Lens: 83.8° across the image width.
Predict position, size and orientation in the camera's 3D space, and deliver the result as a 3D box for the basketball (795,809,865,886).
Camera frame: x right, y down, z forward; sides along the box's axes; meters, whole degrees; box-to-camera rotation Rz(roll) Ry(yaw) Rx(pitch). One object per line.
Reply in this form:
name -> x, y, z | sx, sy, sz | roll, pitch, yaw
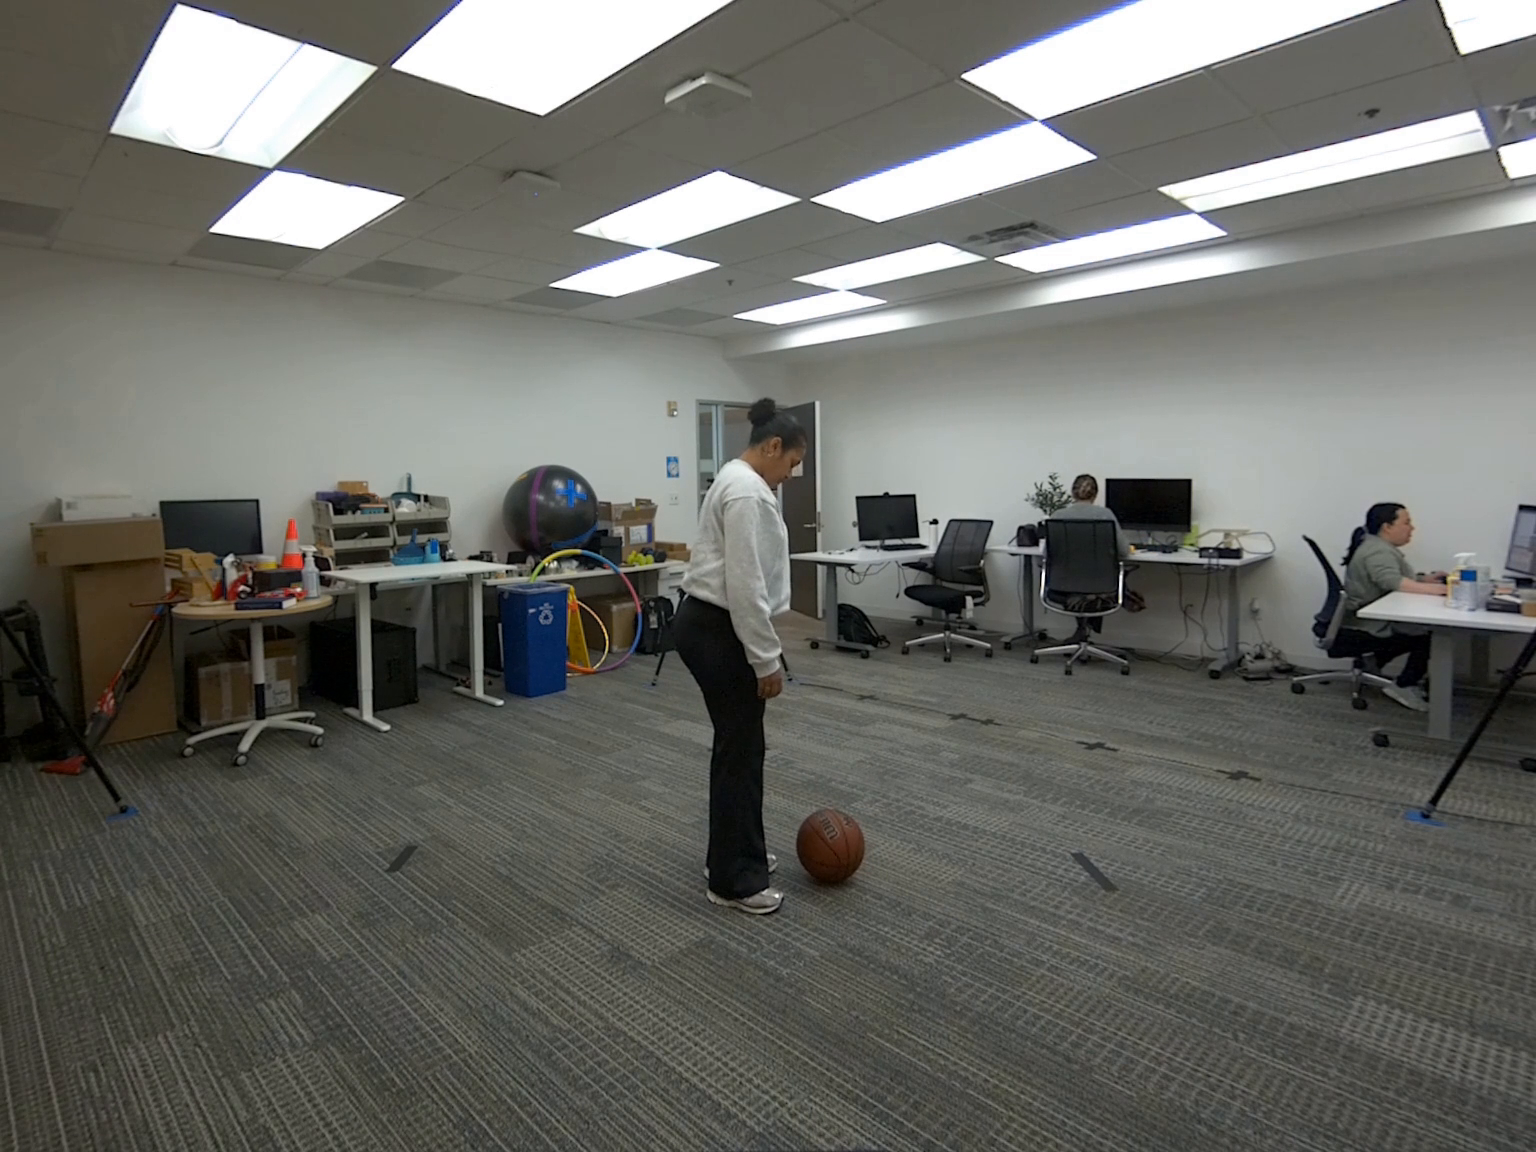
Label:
basketball -> 0.217, 0.932, 2.964 | 0.236, 0.235, 0.237 | -1, 5, -2
